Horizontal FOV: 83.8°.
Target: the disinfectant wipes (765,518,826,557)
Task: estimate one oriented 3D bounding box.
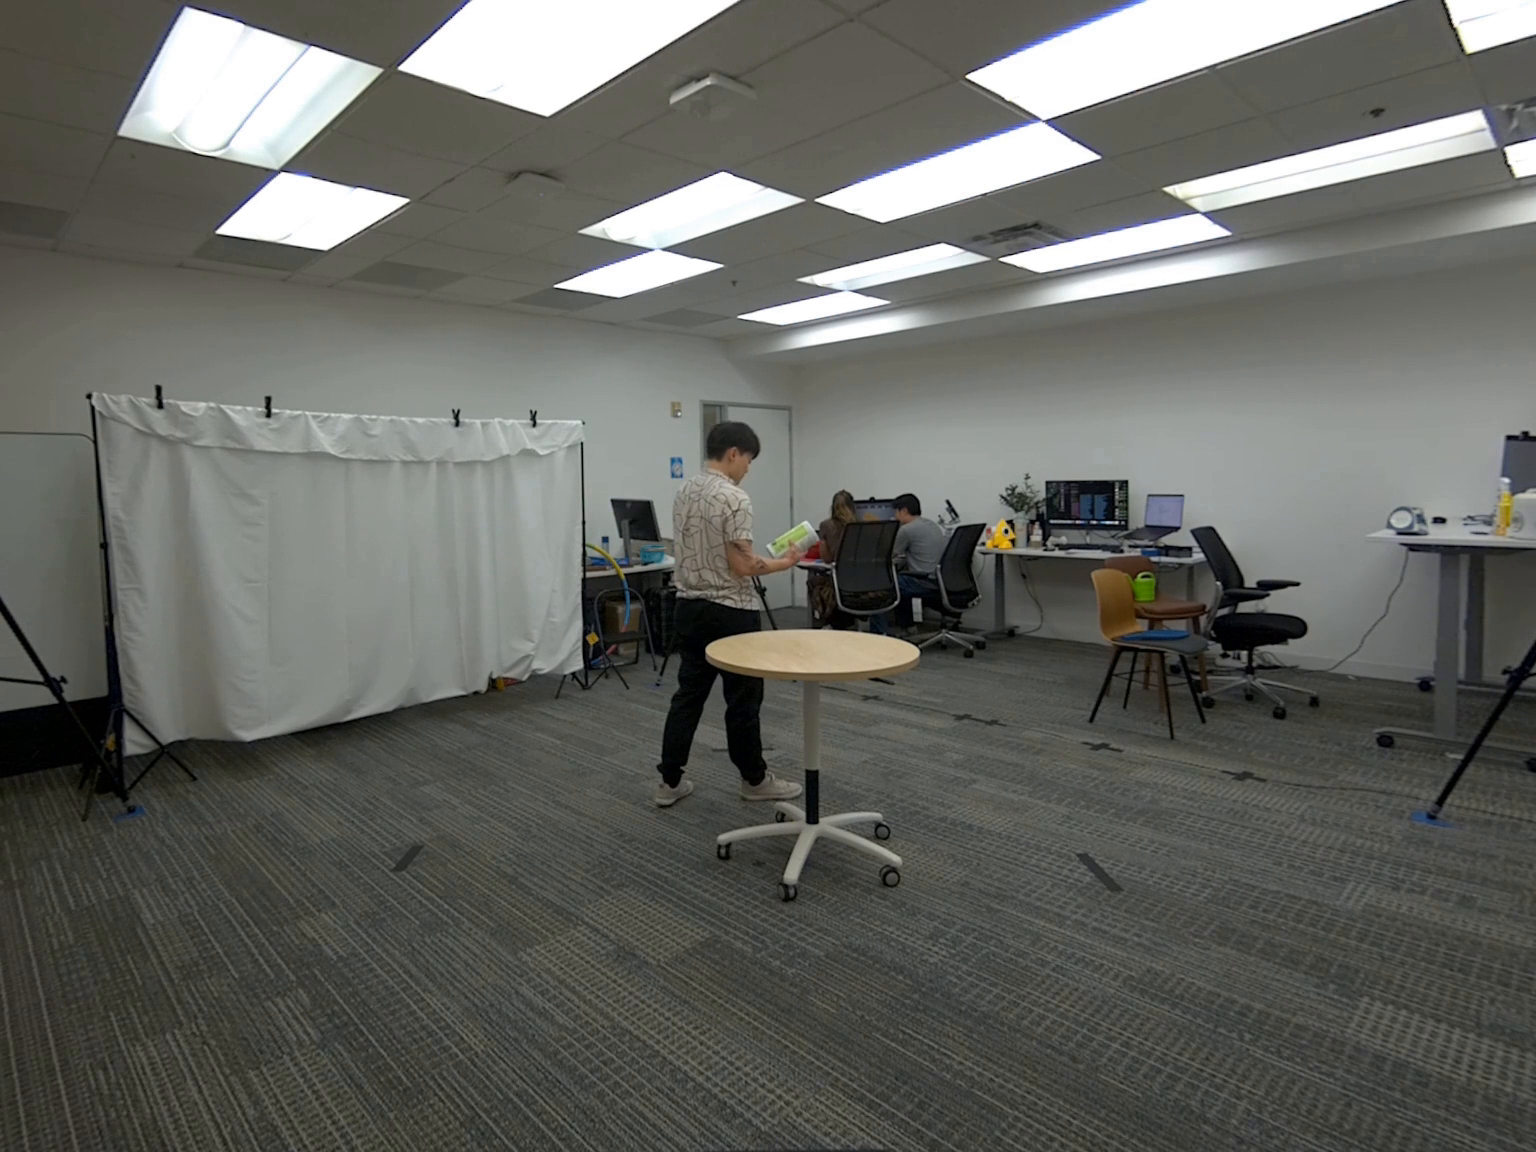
[{"bbox_3d":[0.116,-0.145,3.728,0.217,0.117,0.119,-32,6,-1],"label":"disinfectant wipes"}]
